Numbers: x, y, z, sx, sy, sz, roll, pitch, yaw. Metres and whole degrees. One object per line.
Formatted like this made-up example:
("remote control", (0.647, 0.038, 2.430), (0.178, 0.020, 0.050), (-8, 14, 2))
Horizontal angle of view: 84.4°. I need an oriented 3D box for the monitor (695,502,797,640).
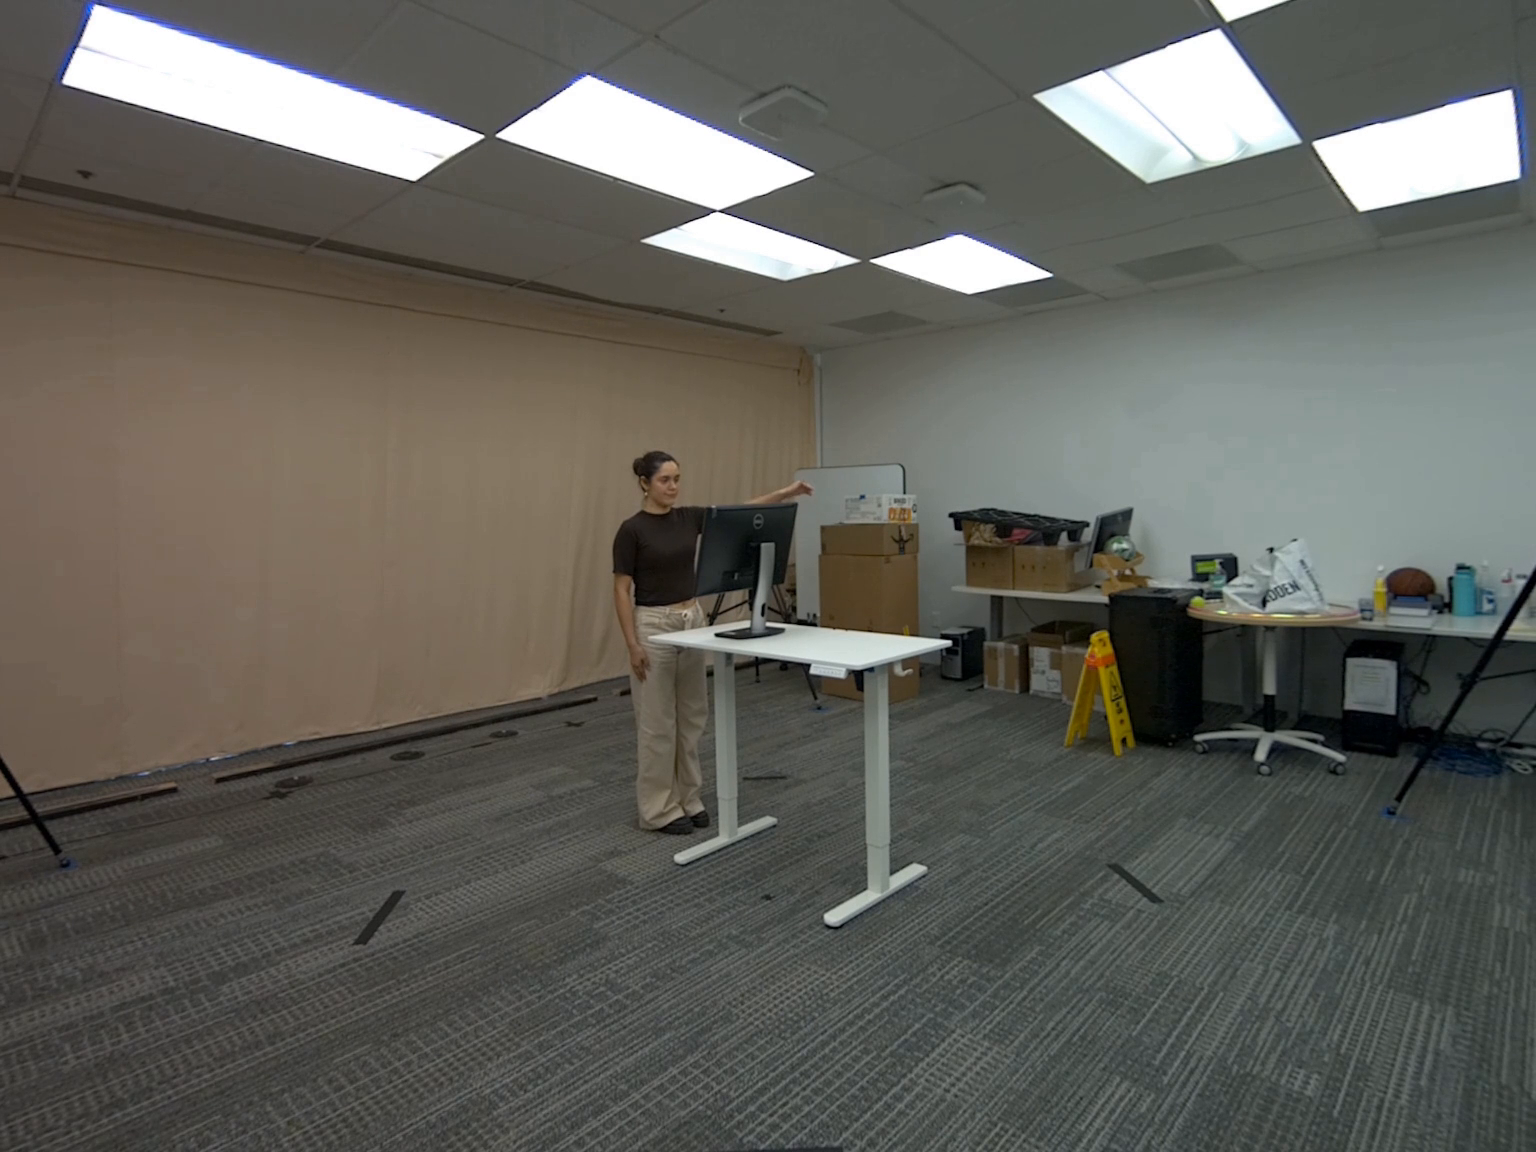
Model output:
("monitor", (-0.057, -0.019, 3.306), (0.193, 0.521, 0.523), (5, 7, 40))
